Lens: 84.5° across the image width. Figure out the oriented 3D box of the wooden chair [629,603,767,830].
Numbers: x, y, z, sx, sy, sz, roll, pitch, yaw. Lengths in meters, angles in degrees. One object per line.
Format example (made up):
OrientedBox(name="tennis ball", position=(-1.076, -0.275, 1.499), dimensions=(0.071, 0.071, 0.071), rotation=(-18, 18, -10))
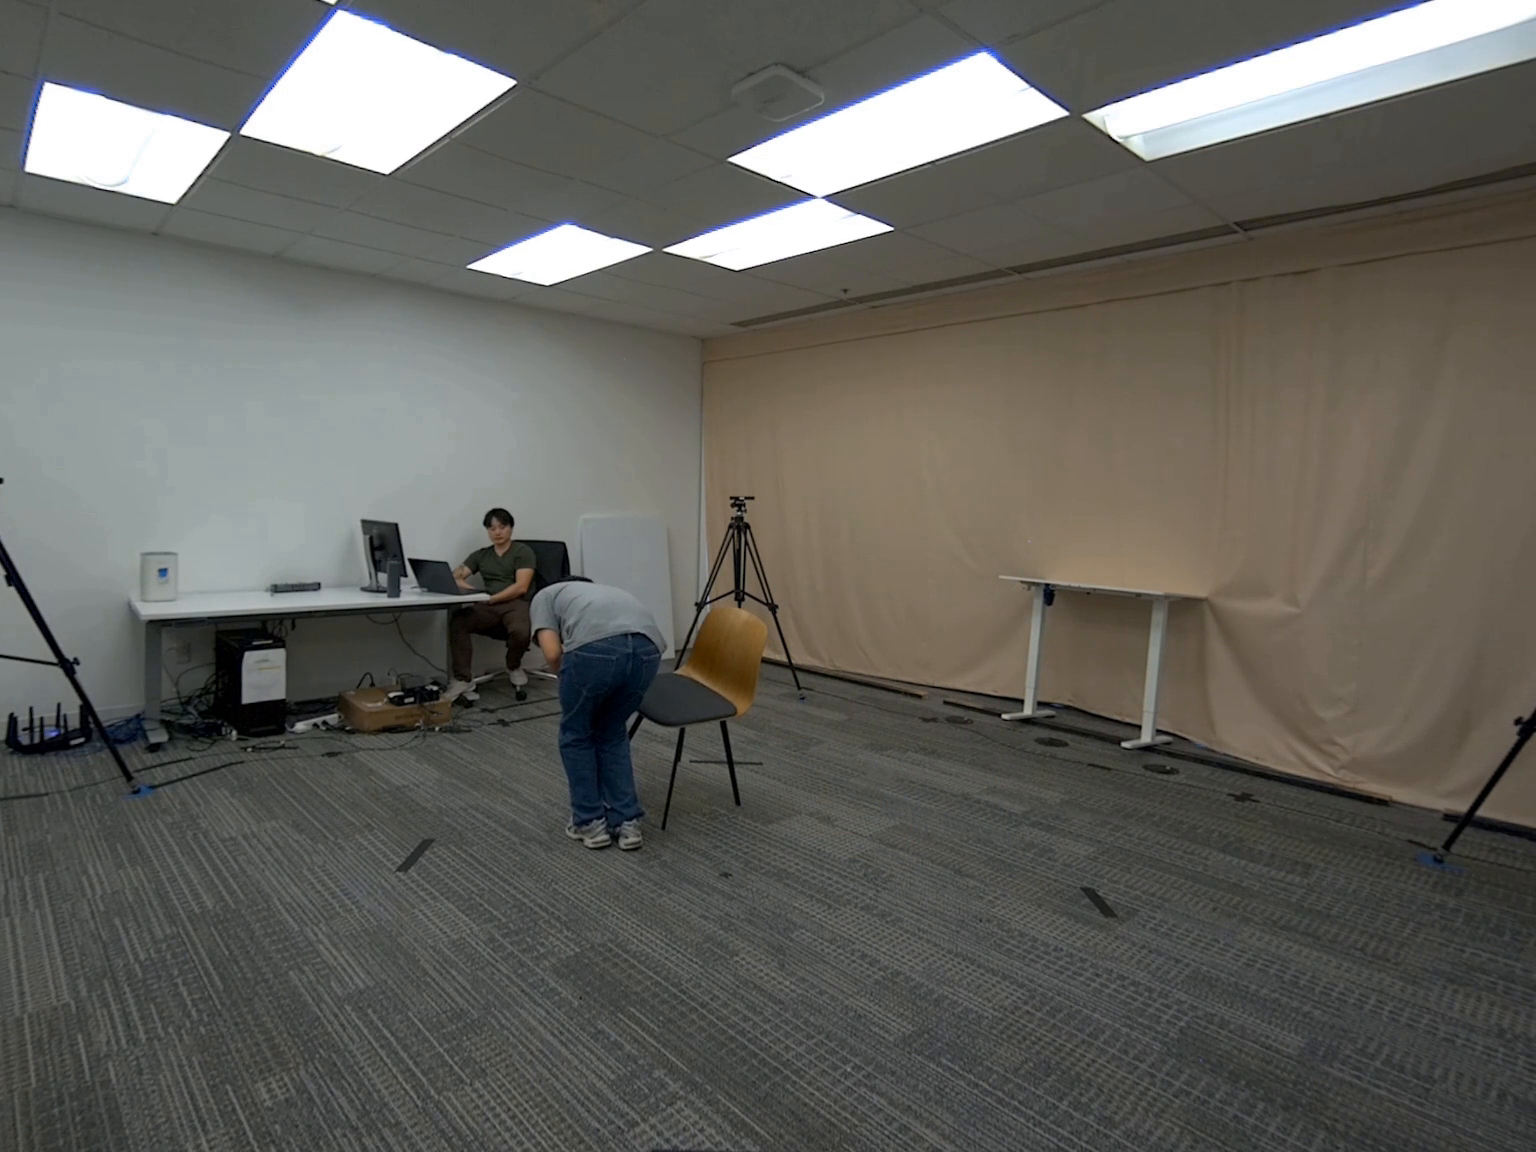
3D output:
OrientedBox(name="wooden chair", position=(-0.369, 0.578, 3.724), dimensions=(0.510, 0.873, 0.493), rotation=(4, 14, -46))
